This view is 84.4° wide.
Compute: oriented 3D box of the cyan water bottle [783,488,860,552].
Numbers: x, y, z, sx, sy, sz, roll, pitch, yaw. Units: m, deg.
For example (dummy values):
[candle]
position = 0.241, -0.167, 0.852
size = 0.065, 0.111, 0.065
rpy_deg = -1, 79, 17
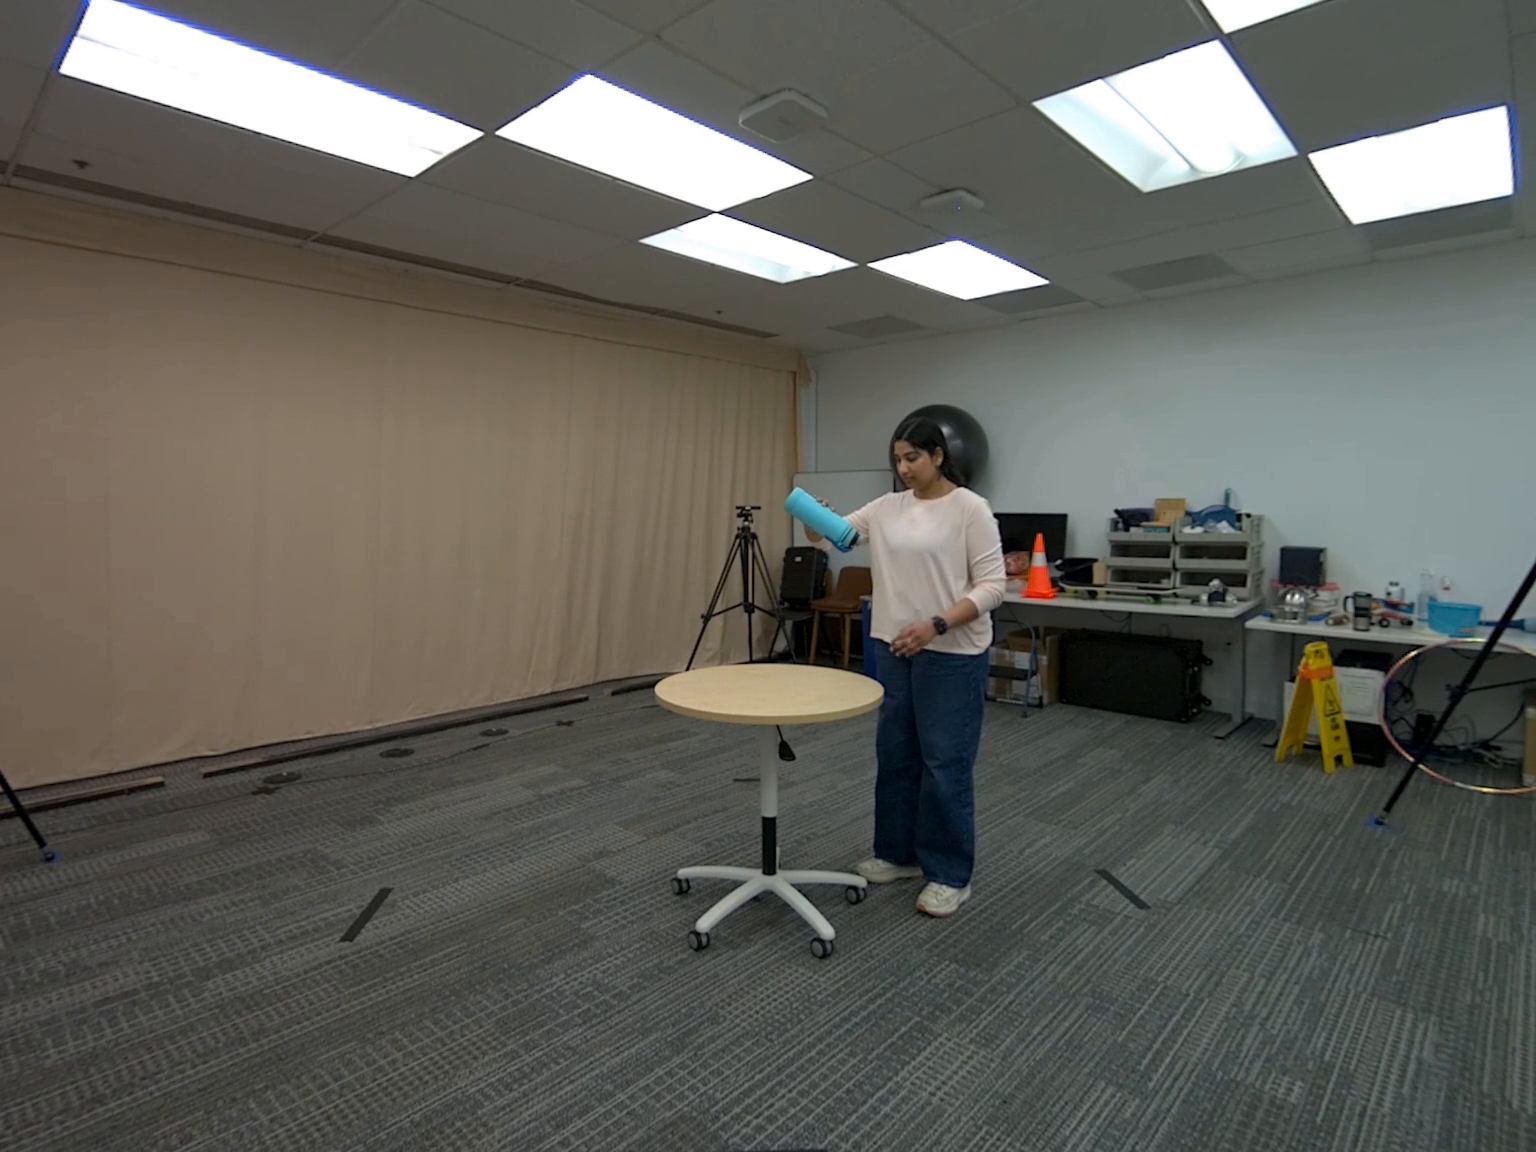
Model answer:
[cyan water bottle]
position = 0.192, -0.178, 2.836
size = 0.287, 0.092, 0.091
rpy_deg = 38, 11, 9
